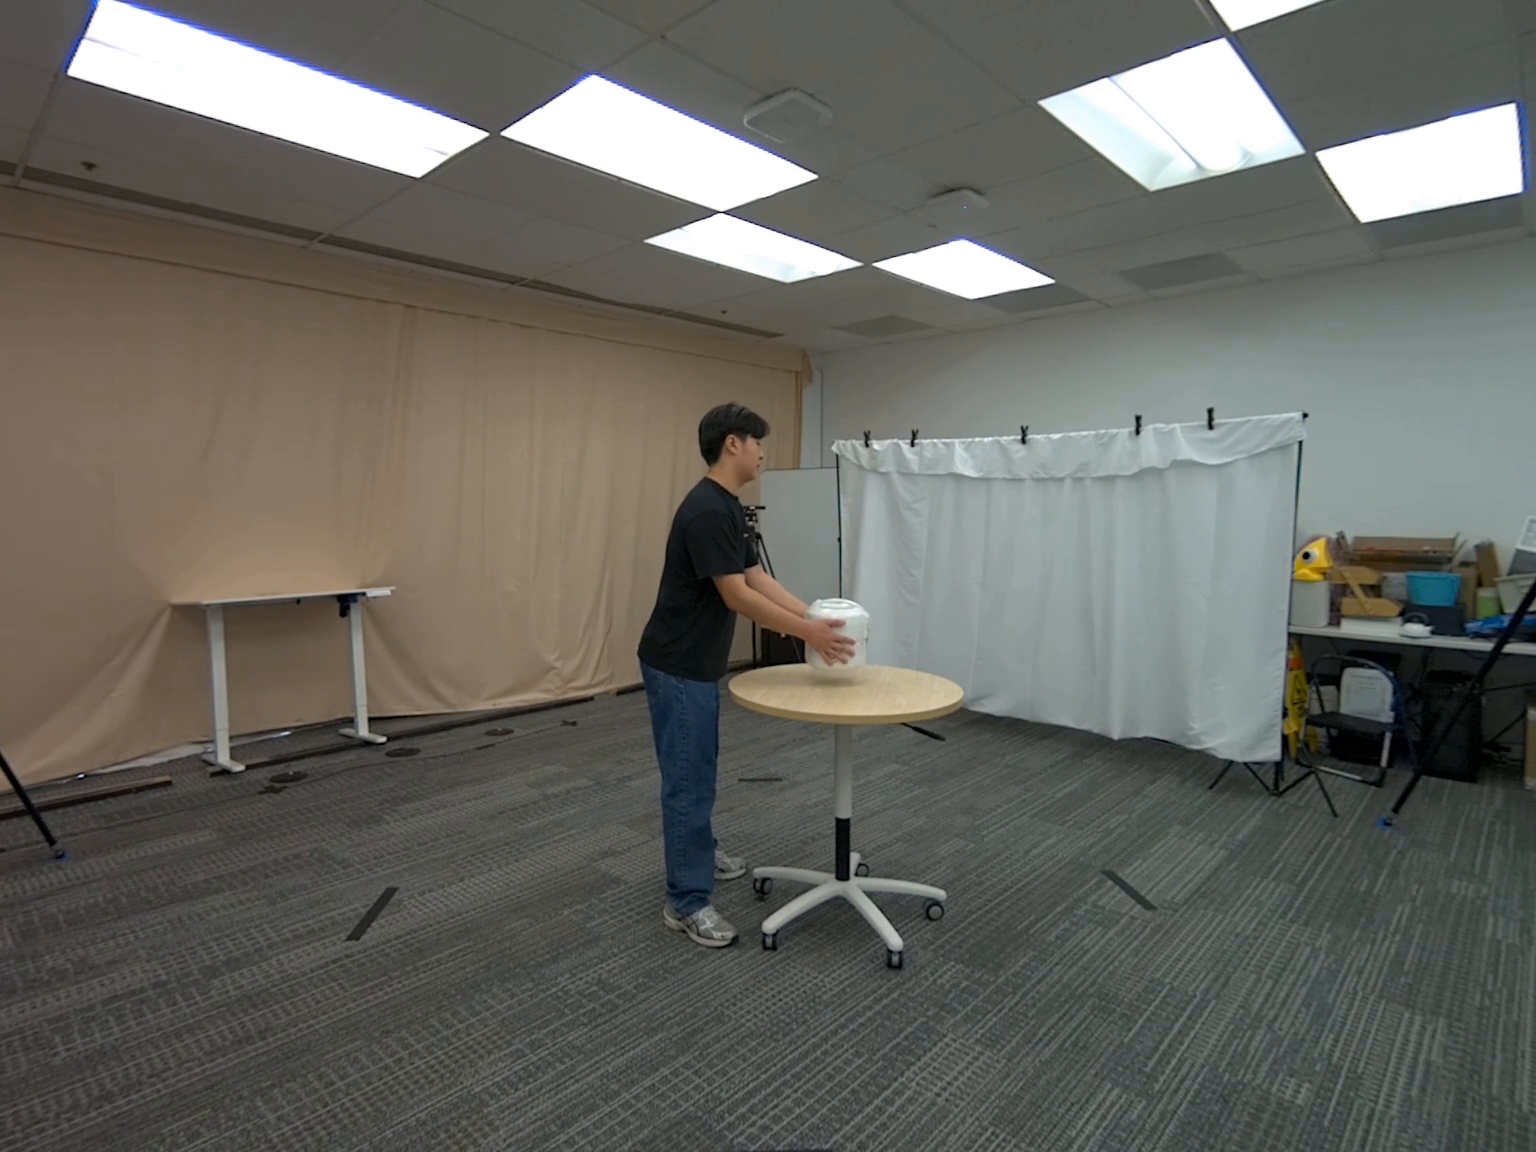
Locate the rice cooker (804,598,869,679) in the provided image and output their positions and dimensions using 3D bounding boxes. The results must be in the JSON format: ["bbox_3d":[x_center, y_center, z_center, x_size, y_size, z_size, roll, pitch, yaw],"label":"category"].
[{"bbox_3d":[0.237,0.192,2.816,0.224,0.232,0.215,2,5,13],"label":"rice cooker"}]
